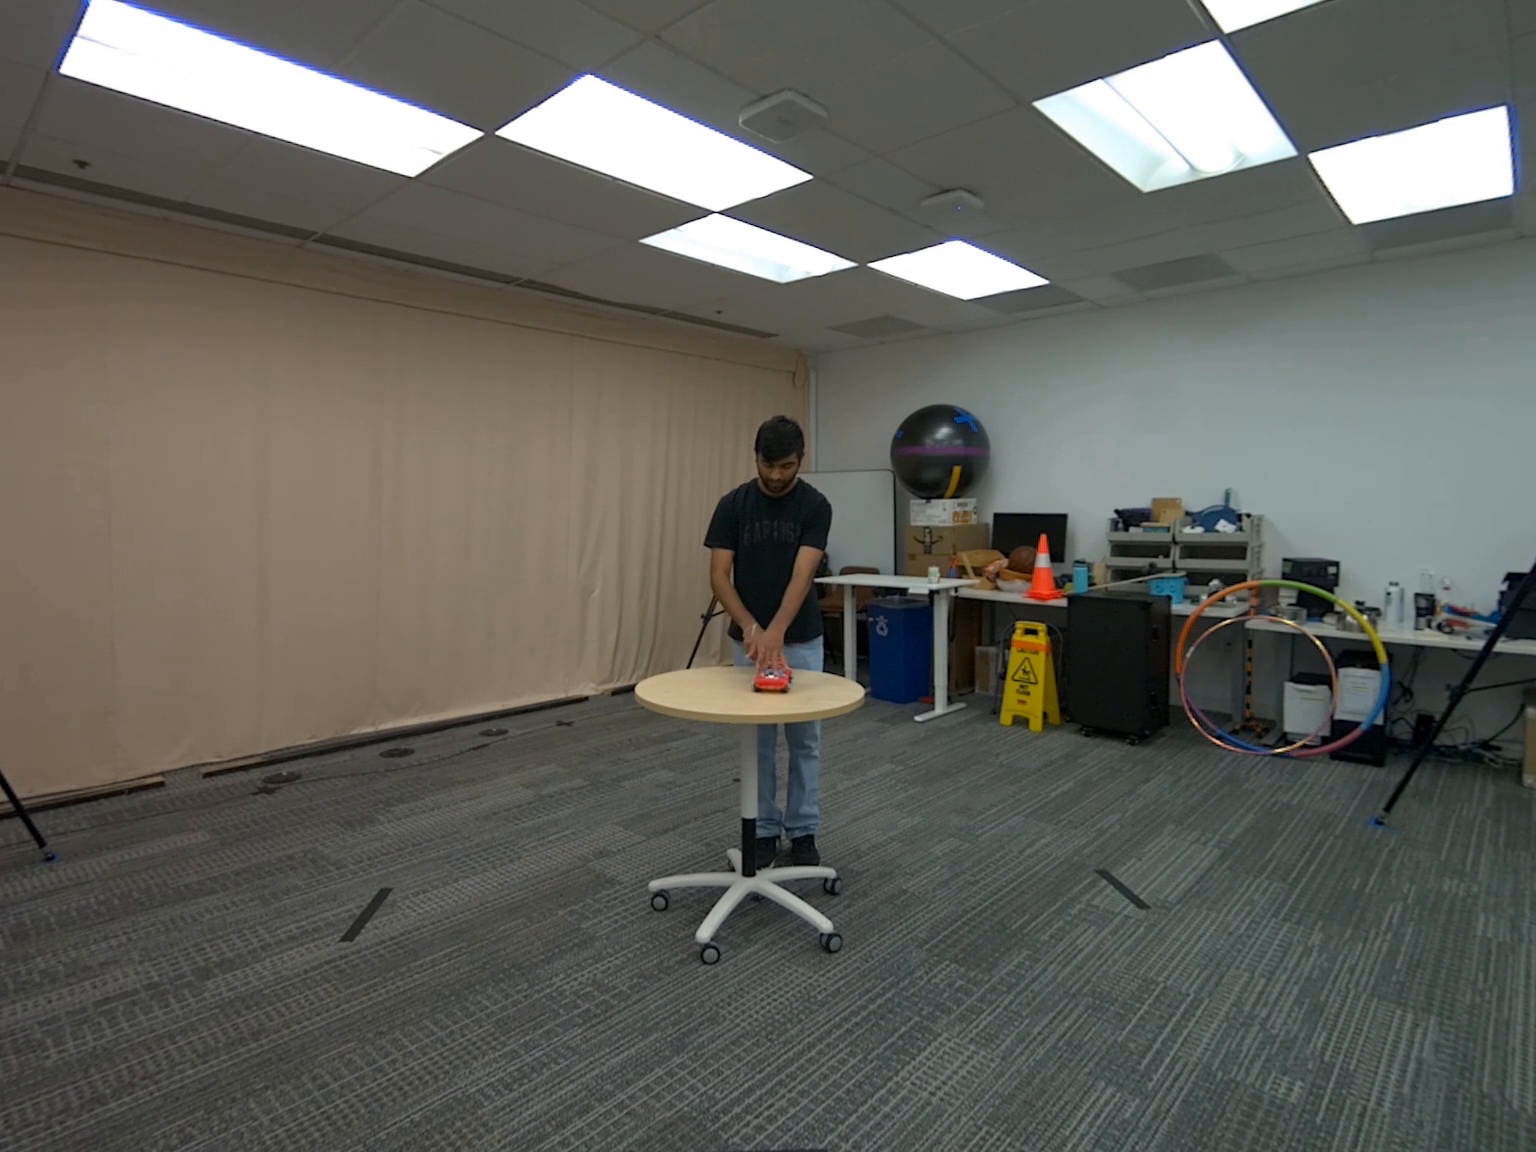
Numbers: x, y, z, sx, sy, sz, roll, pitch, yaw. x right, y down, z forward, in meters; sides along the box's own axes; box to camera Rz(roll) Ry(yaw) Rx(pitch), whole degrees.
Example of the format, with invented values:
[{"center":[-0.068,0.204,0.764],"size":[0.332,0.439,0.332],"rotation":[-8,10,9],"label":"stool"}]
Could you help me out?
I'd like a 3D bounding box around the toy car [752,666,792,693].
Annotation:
[{"center":[0.010,0.339,2.852],"size":[0.131,0.082,0.255],"rotation":[0,16,6],"label":"toy car"}]
